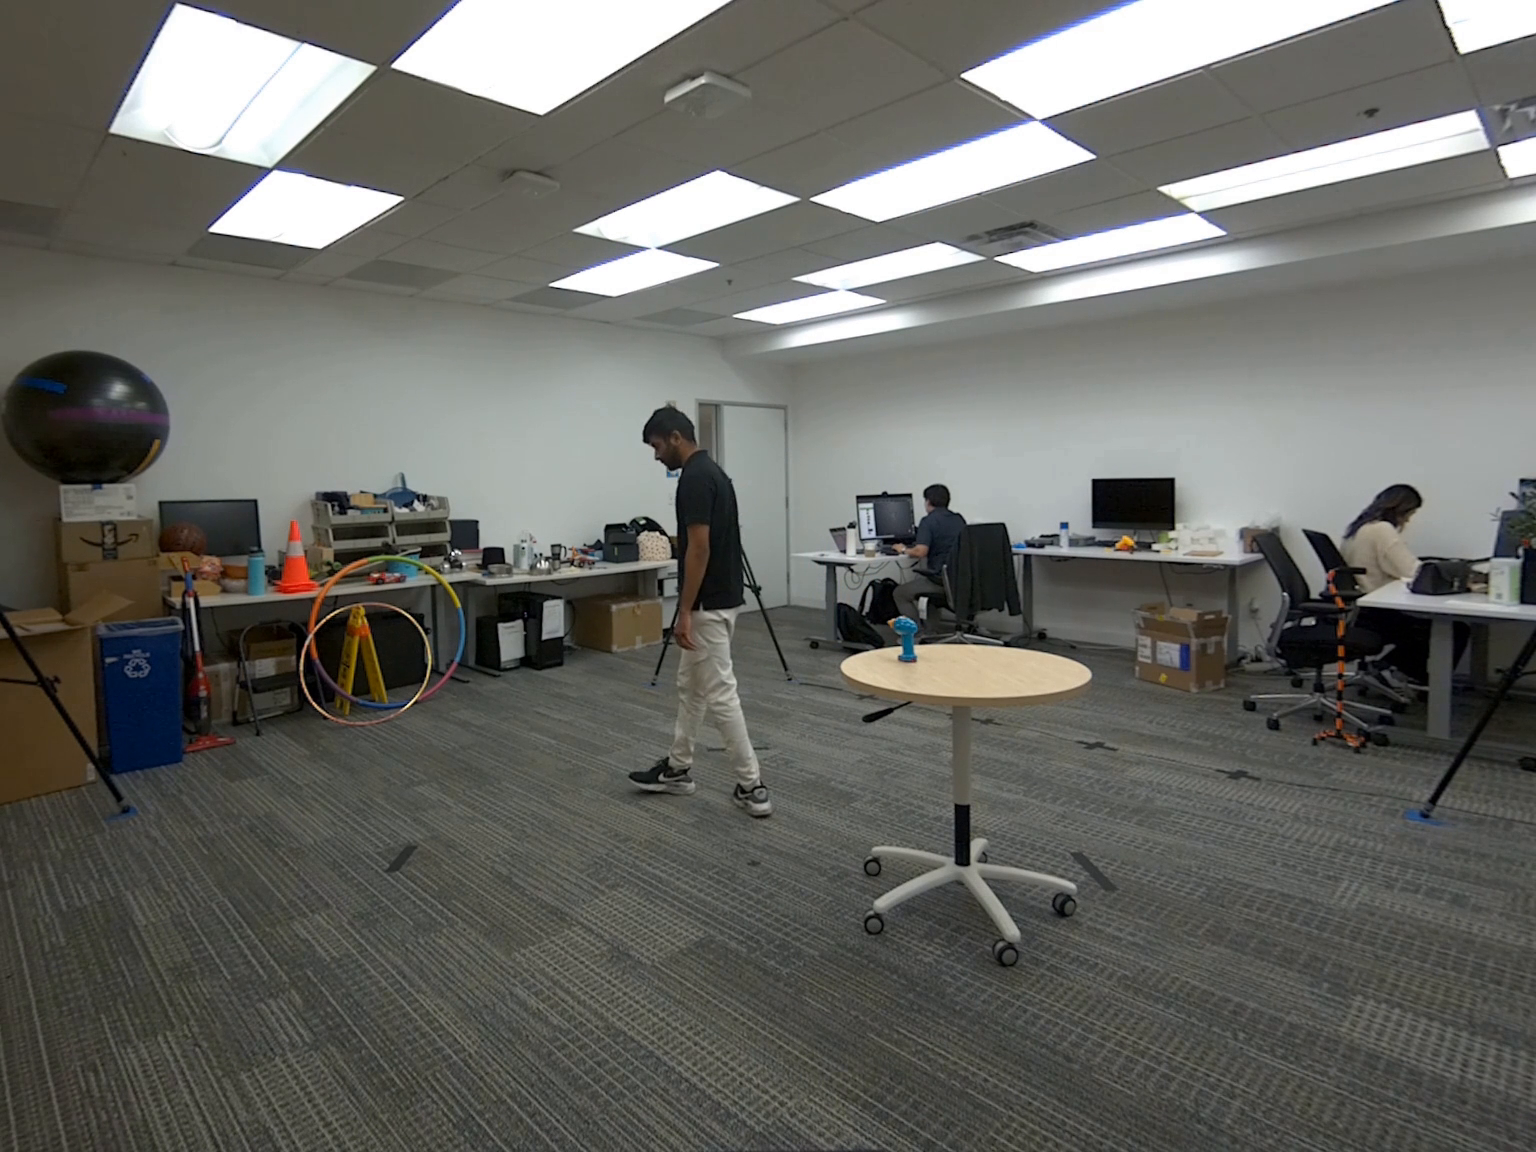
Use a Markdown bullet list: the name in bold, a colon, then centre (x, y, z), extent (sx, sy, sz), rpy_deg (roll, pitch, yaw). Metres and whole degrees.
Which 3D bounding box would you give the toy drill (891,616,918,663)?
- **toy drill**: centre (0.460, 0.207, 2.881), extent (0.060, 0.145, 0.173), rpy_deg (-2, 5, -18)
